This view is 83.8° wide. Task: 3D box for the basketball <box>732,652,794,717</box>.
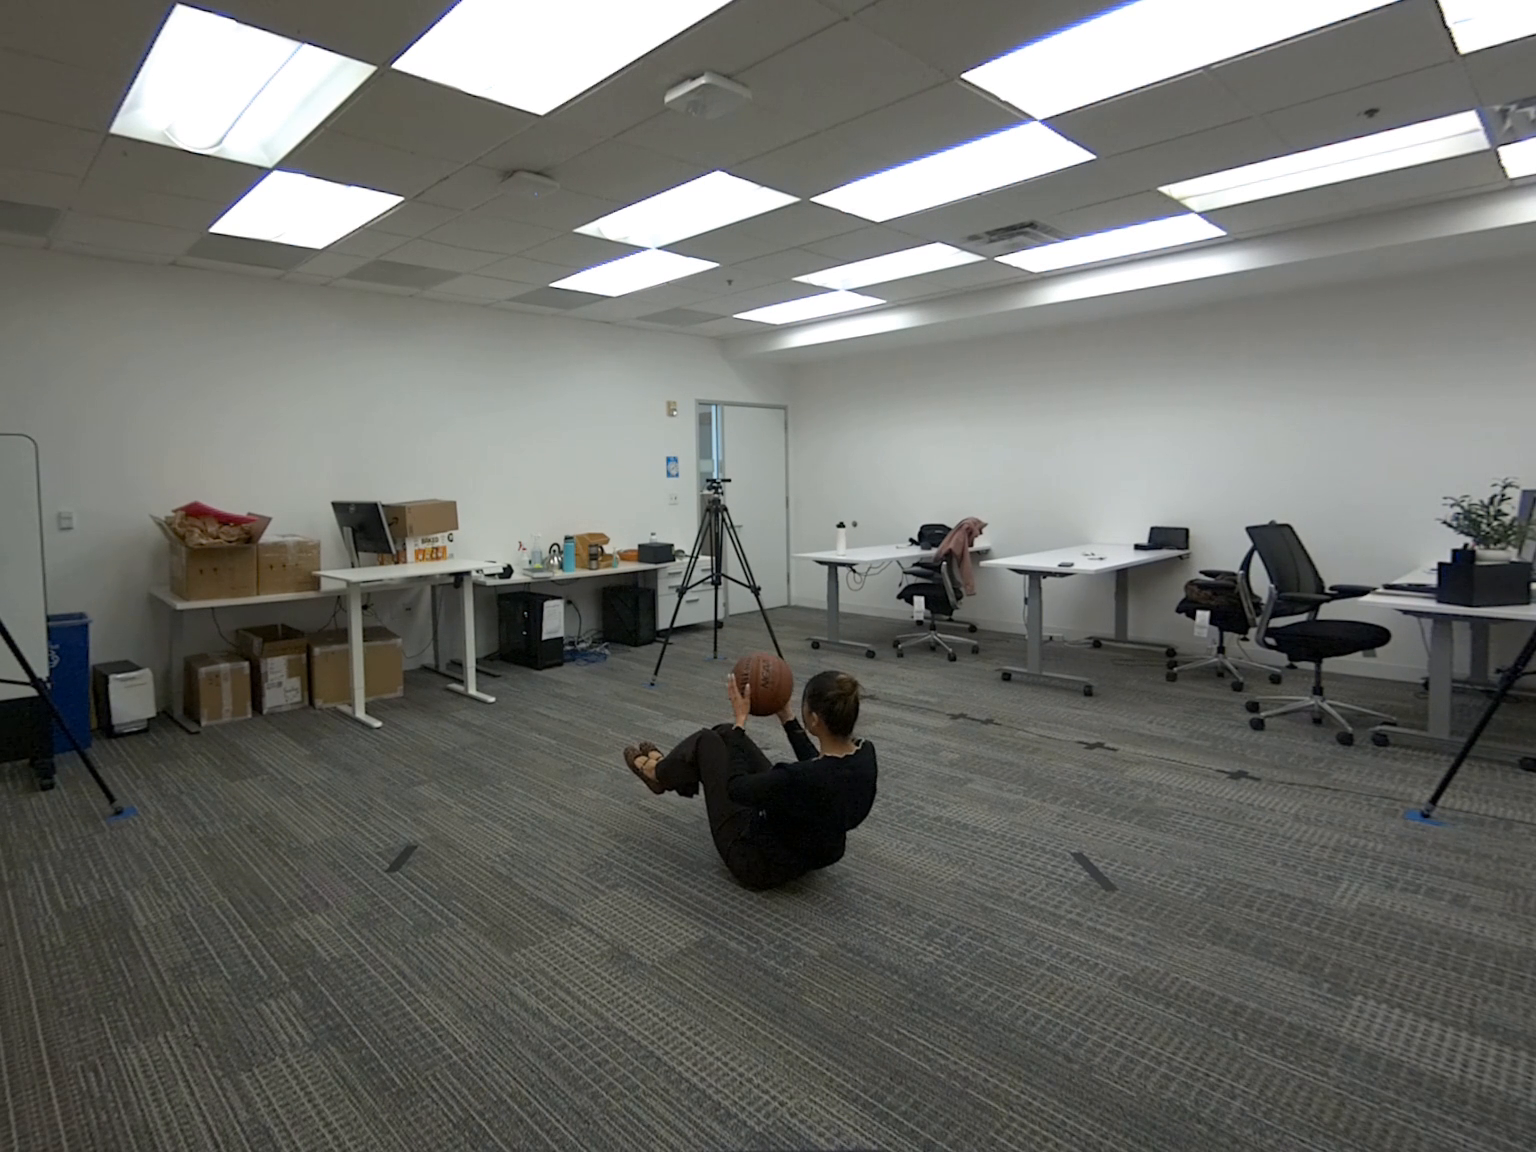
[{"bbox_3d":[-0.019,0.417,3.126,0.236,0.235,0.237,-1,5,-2],"label":"basketball"}]
